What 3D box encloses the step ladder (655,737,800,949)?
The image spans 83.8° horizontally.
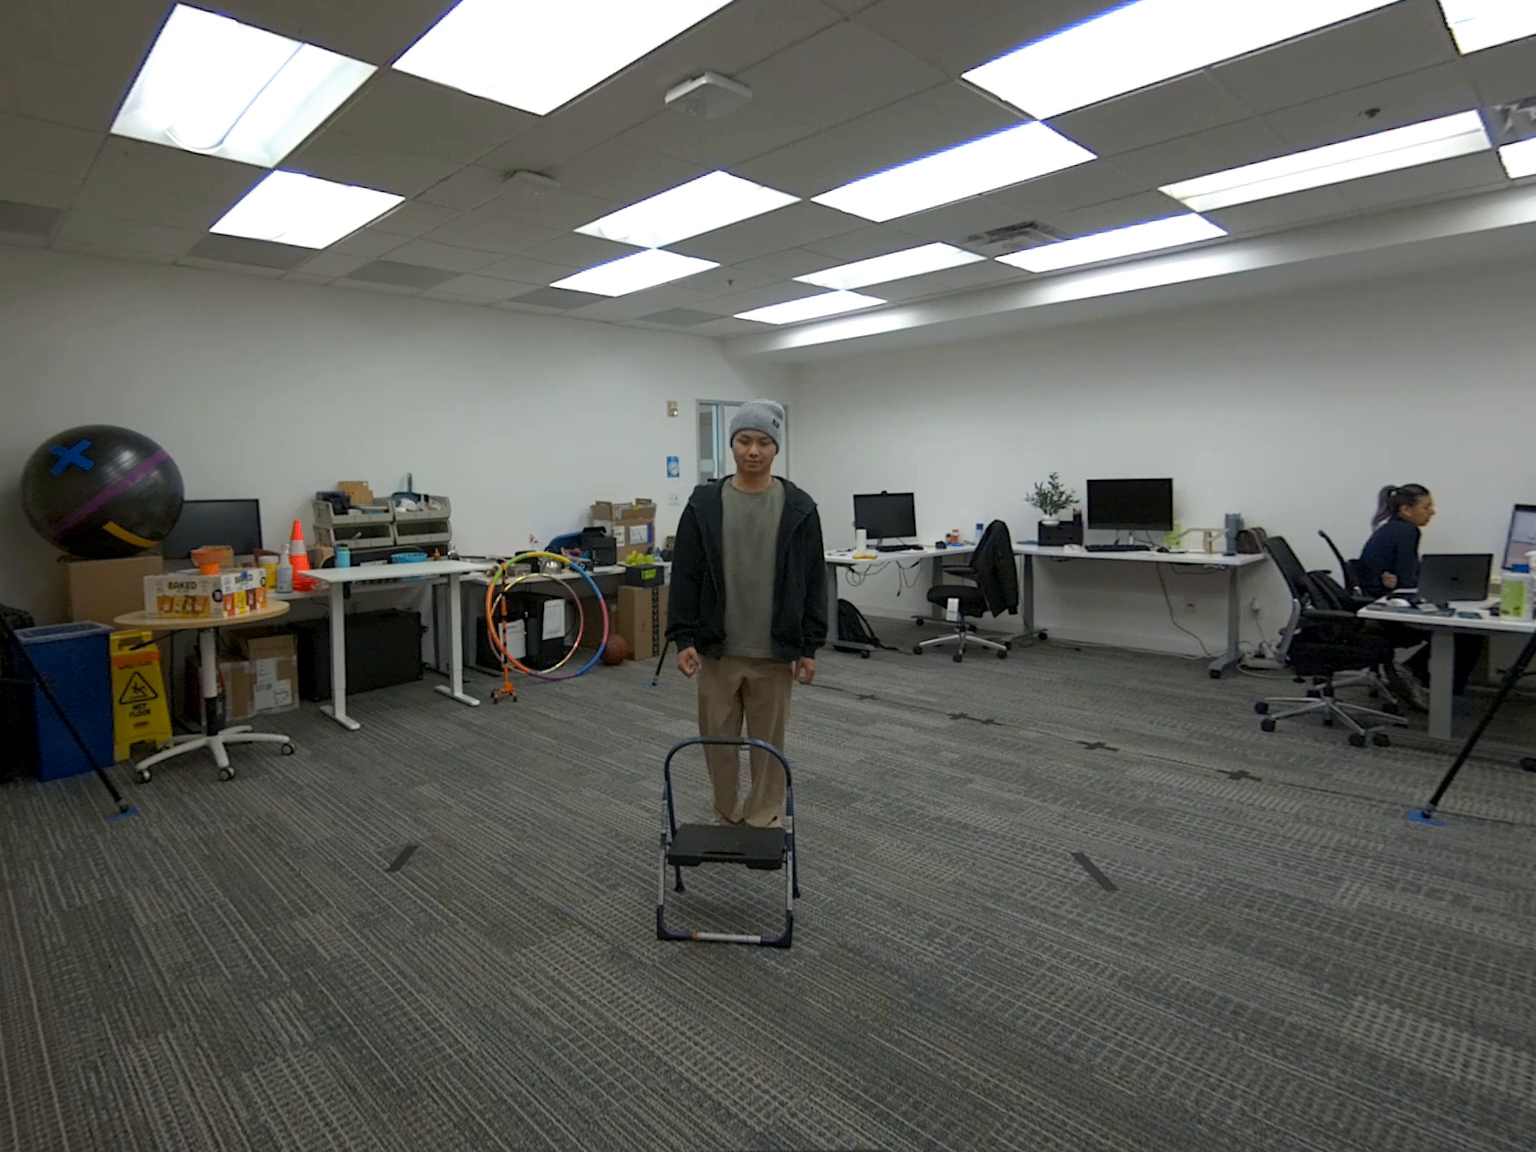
[{"bbox_3d":[-0.125,0.793,2.718,0.434,0.604,0.348,-1,4,7],"label":"step ladder"}]
